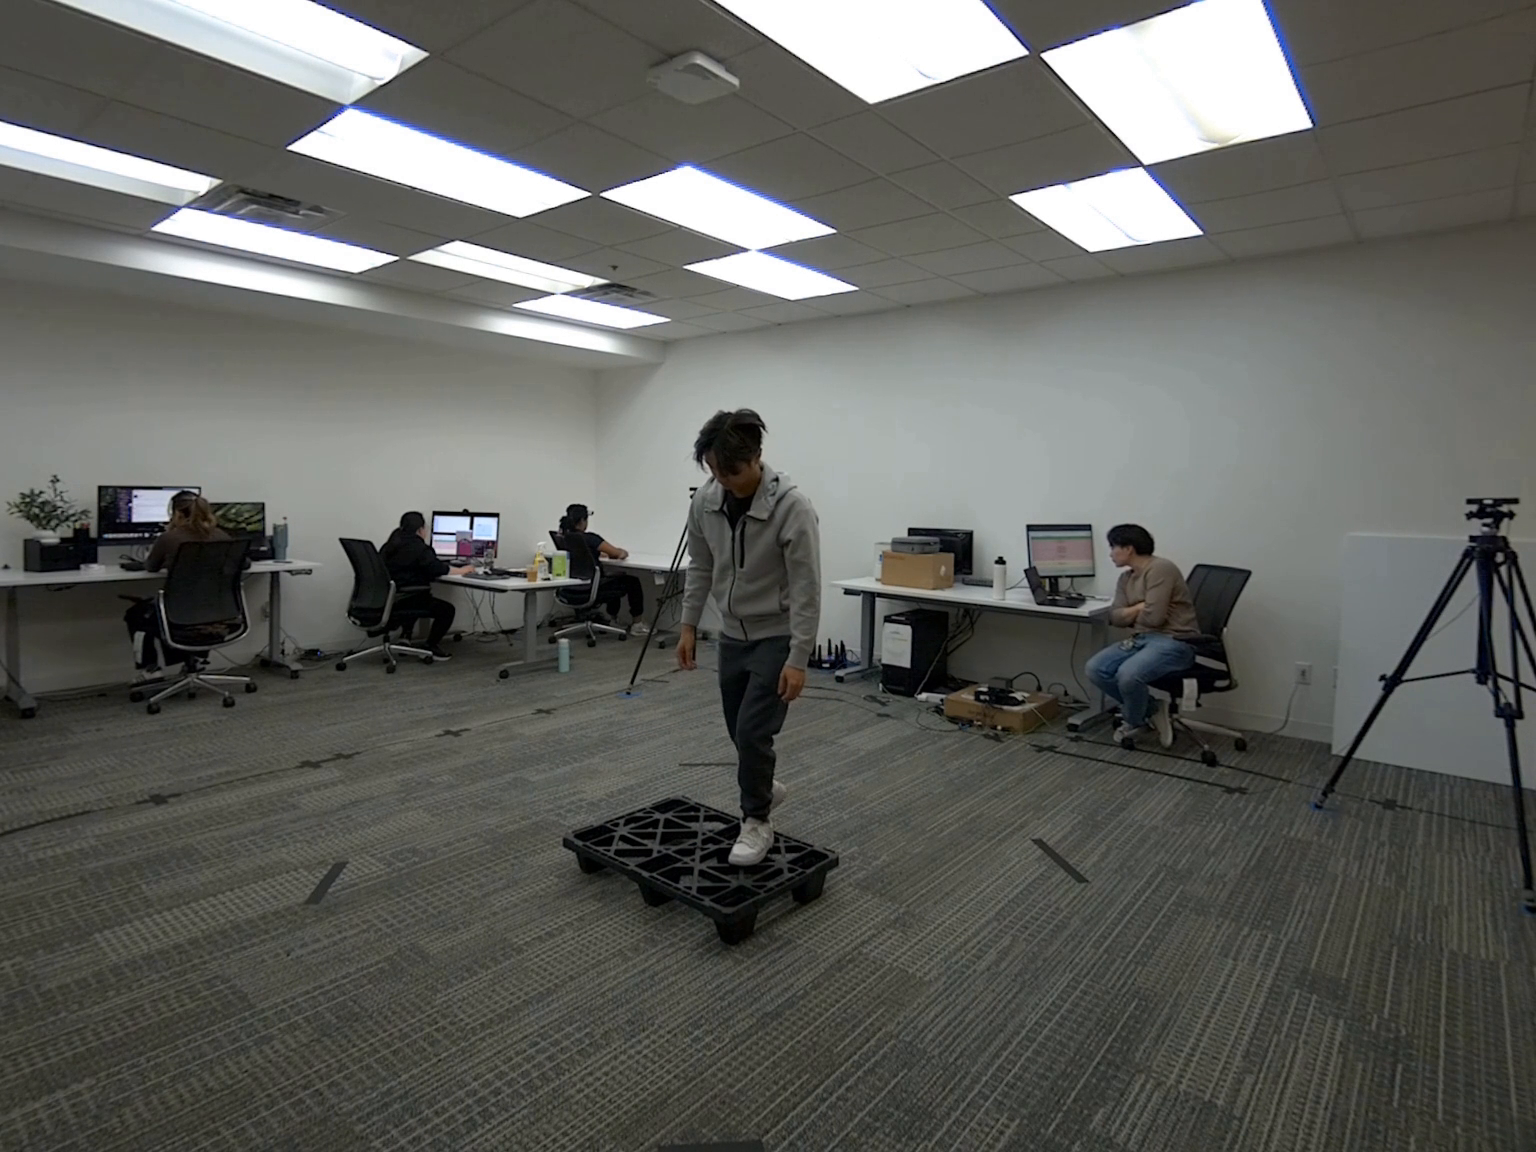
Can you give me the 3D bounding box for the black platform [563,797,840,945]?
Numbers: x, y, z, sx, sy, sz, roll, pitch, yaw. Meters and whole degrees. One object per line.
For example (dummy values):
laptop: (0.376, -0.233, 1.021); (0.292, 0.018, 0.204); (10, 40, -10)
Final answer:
black platform: (-0.256, 1.010, 3.000); (0.833, 0.143, 0.587); (6, 7, 40)
